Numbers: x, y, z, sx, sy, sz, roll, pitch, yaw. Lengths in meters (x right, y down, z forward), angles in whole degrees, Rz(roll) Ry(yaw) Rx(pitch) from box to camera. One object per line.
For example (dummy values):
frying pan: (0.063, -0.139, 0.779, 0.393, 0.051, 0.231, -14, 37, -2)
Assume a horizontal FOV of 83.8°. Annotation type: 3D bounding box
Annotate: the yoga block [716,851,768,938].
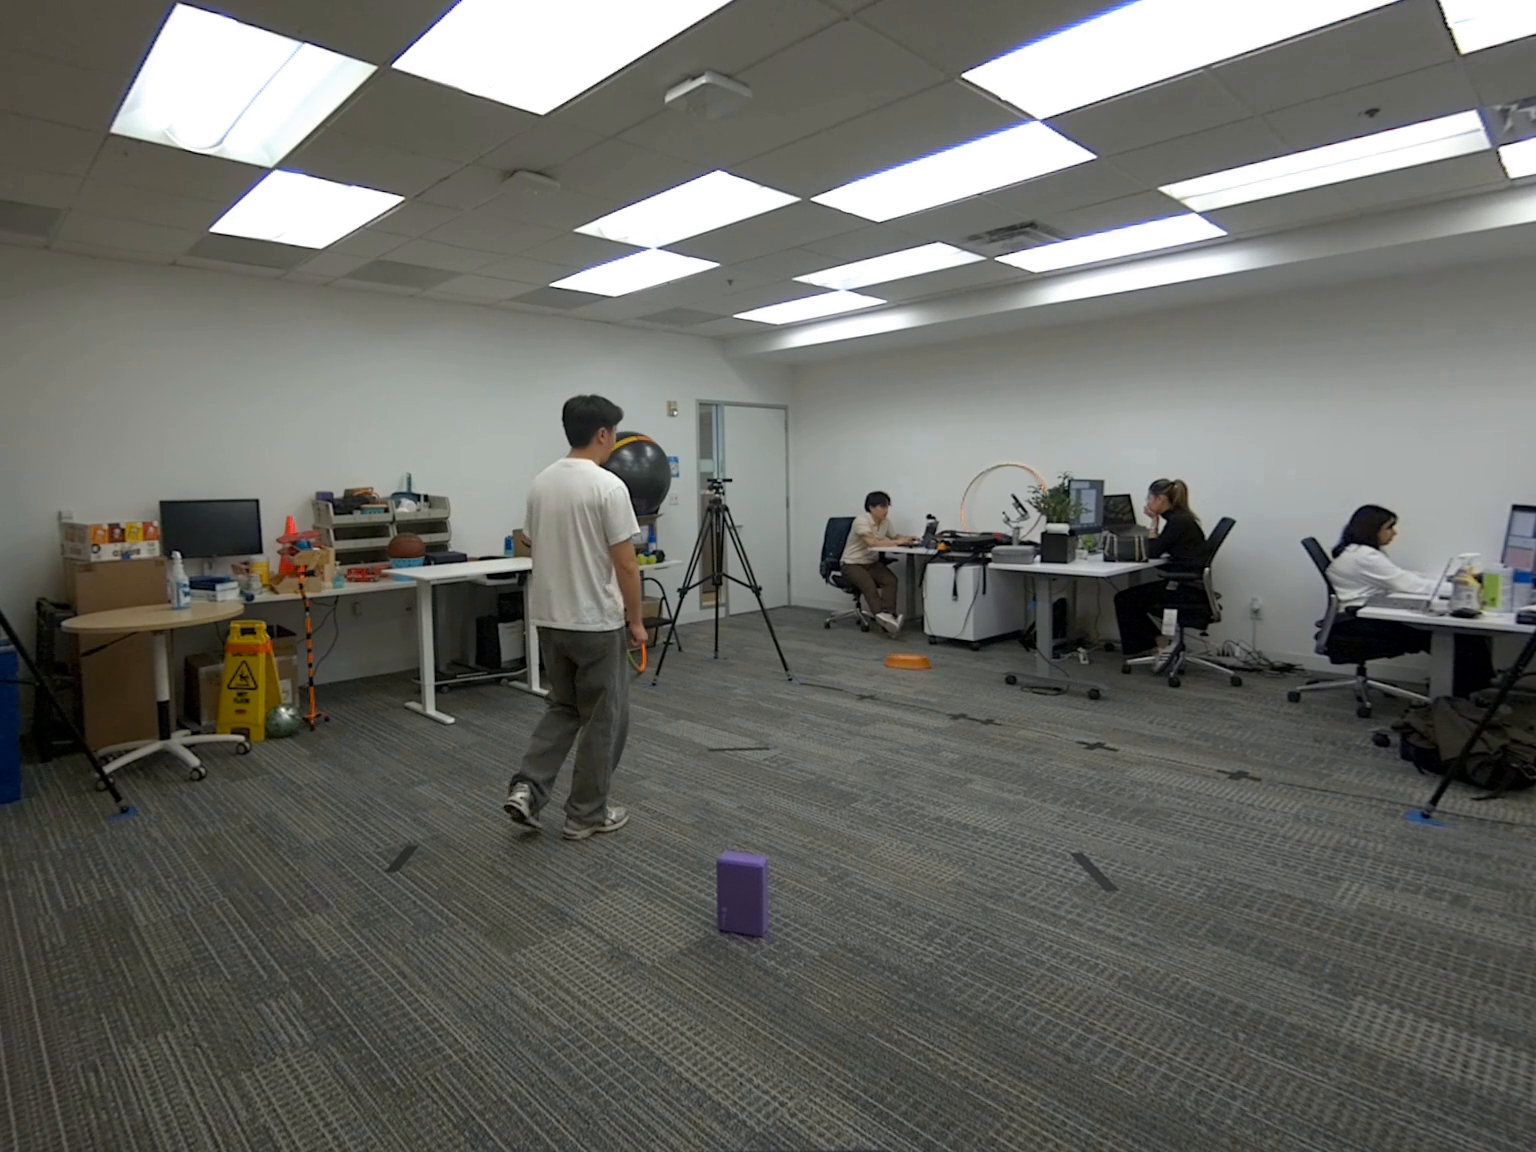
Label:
yoga block: (-0.072, 0.985, 2.649, 0.151, 0.228, 0.075, 0, 4, 17)
